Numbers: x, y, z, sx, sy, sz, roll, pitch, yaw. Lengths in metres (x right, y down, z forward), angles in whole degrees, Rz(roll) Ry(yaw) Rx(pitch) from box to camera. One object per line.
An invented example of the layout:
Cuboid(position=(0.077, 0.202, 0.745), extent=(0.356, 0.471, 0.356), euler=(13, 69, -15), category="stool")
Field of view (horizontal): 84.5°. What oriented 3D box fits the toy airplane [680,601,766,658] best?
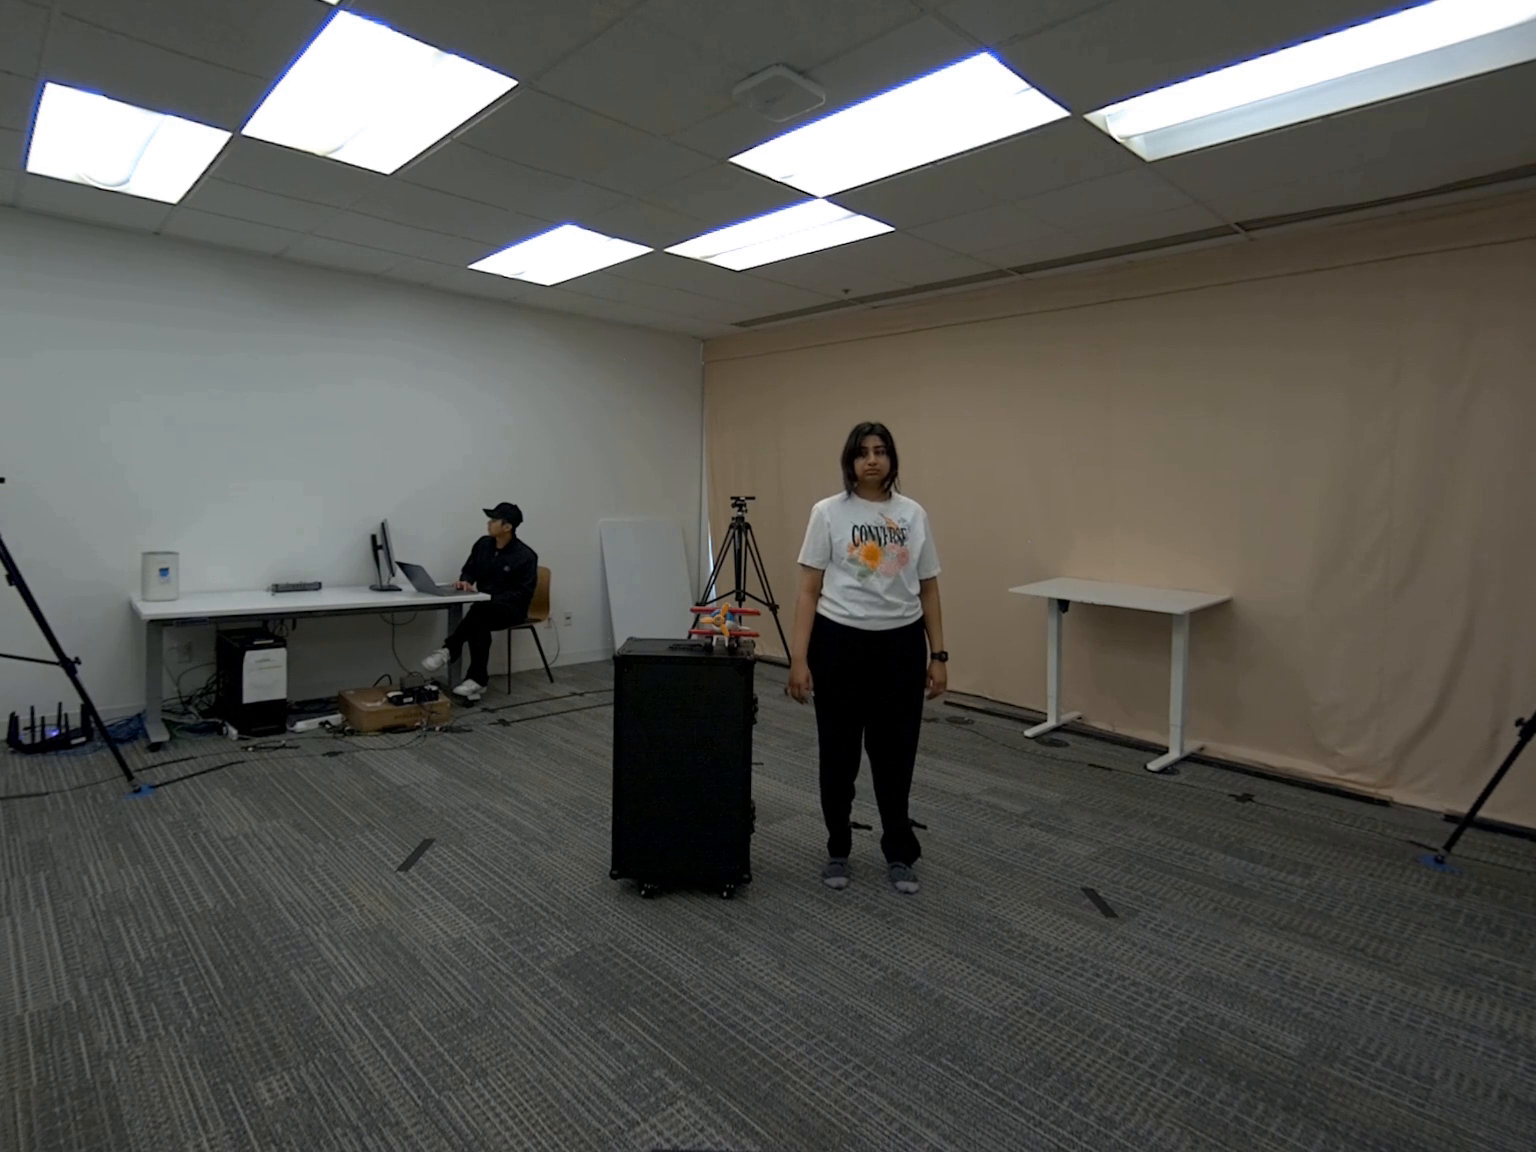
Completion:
Cuboid(position=(-0.168, 0.183, 3.025), extent=(0.248, 0.156, 0.263), euler=(0, 5, -14), category="toy airplane")
